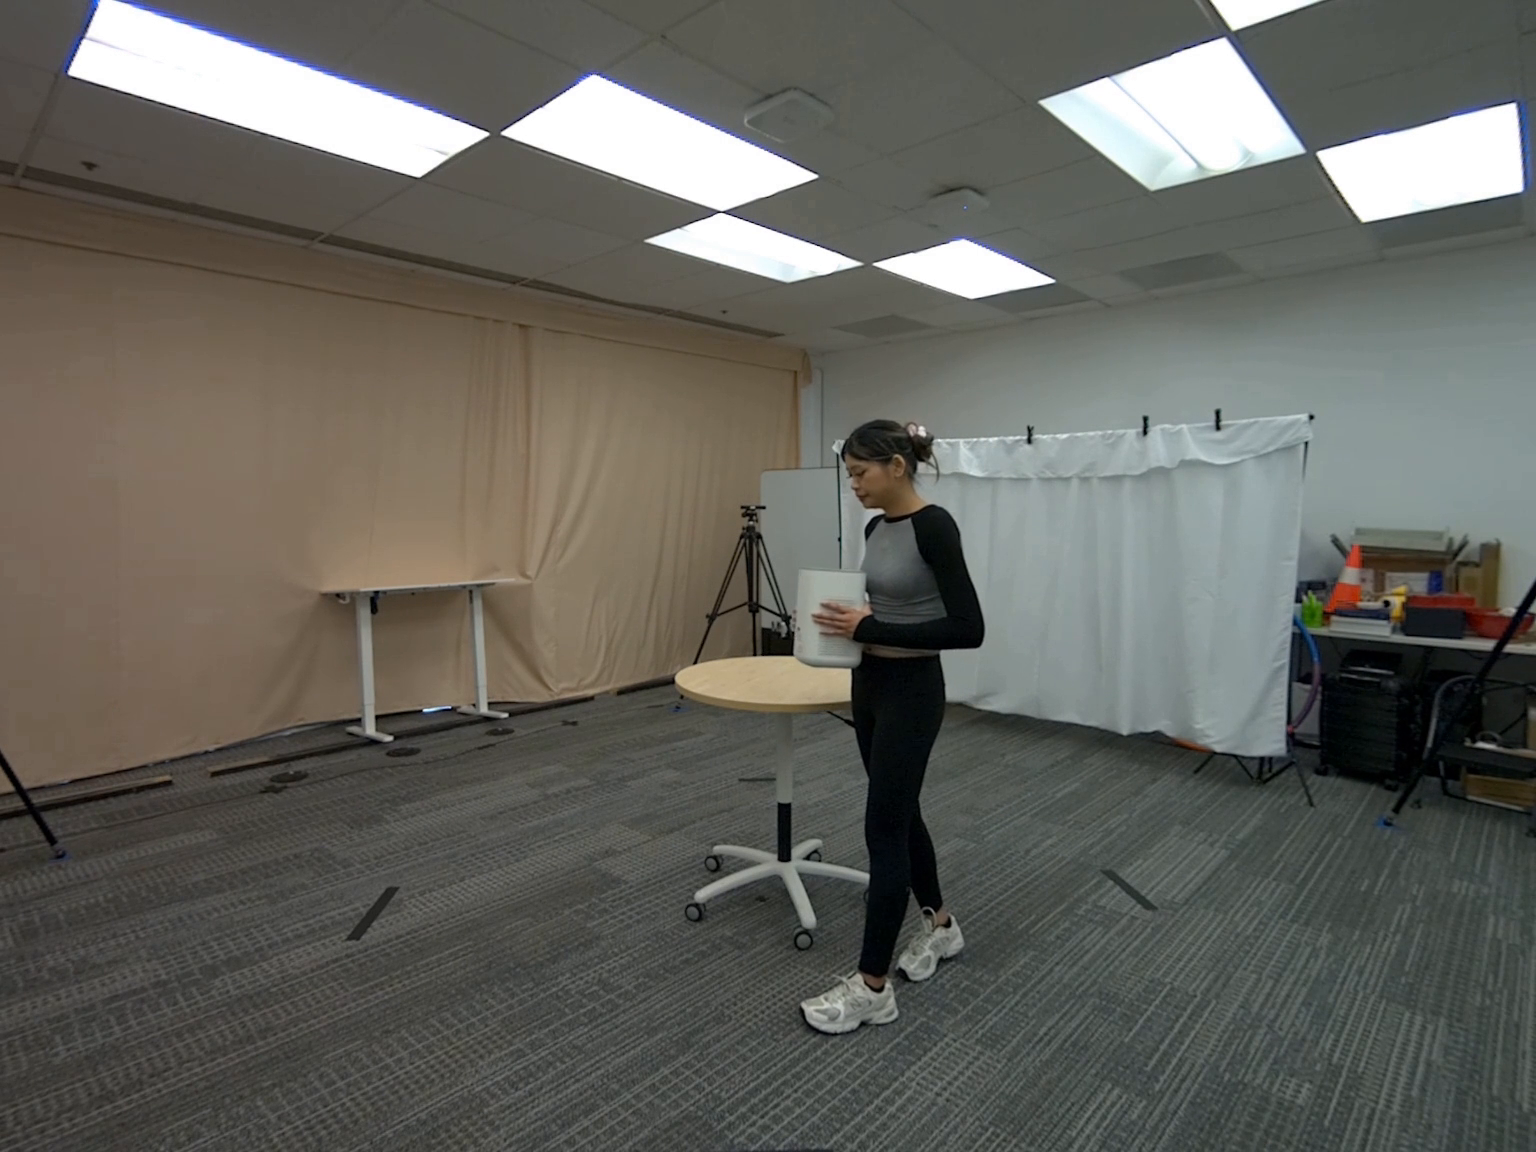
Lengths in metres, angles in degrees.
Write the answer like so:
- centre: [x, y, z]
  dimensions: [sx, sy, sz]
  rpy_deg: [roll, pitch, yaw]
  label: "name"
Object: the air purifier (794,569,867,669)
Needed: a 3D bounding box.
- centre: [0.179, 0.120, 2.323]
  dimensions: [0.170, 0.265, 0.173]
  rpy_deg: [5, -2, -10]
  label: "air purifier"
